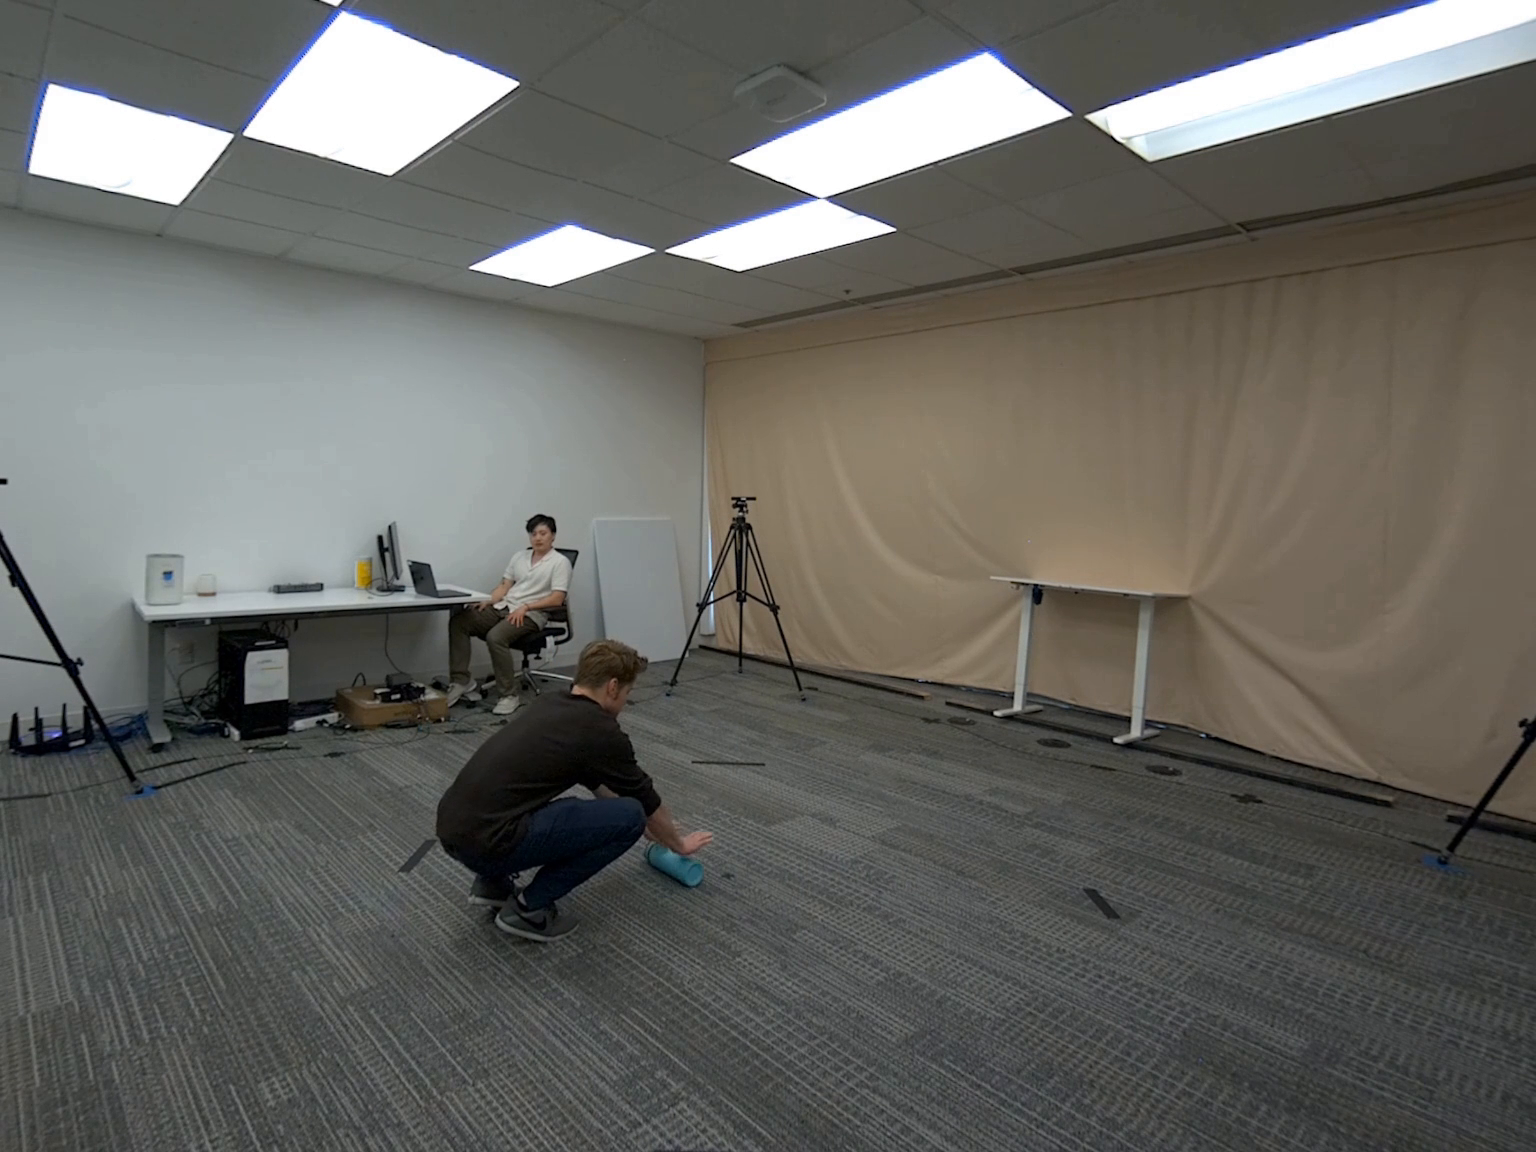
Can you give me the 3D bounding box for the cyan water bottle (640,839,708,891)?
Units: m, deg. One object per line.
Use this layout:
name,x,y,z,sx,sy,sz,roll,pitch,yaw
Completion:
cyan water bottle,-0.351,1.051,3.117,0.090,0.092,0.290,-2,4,-43
